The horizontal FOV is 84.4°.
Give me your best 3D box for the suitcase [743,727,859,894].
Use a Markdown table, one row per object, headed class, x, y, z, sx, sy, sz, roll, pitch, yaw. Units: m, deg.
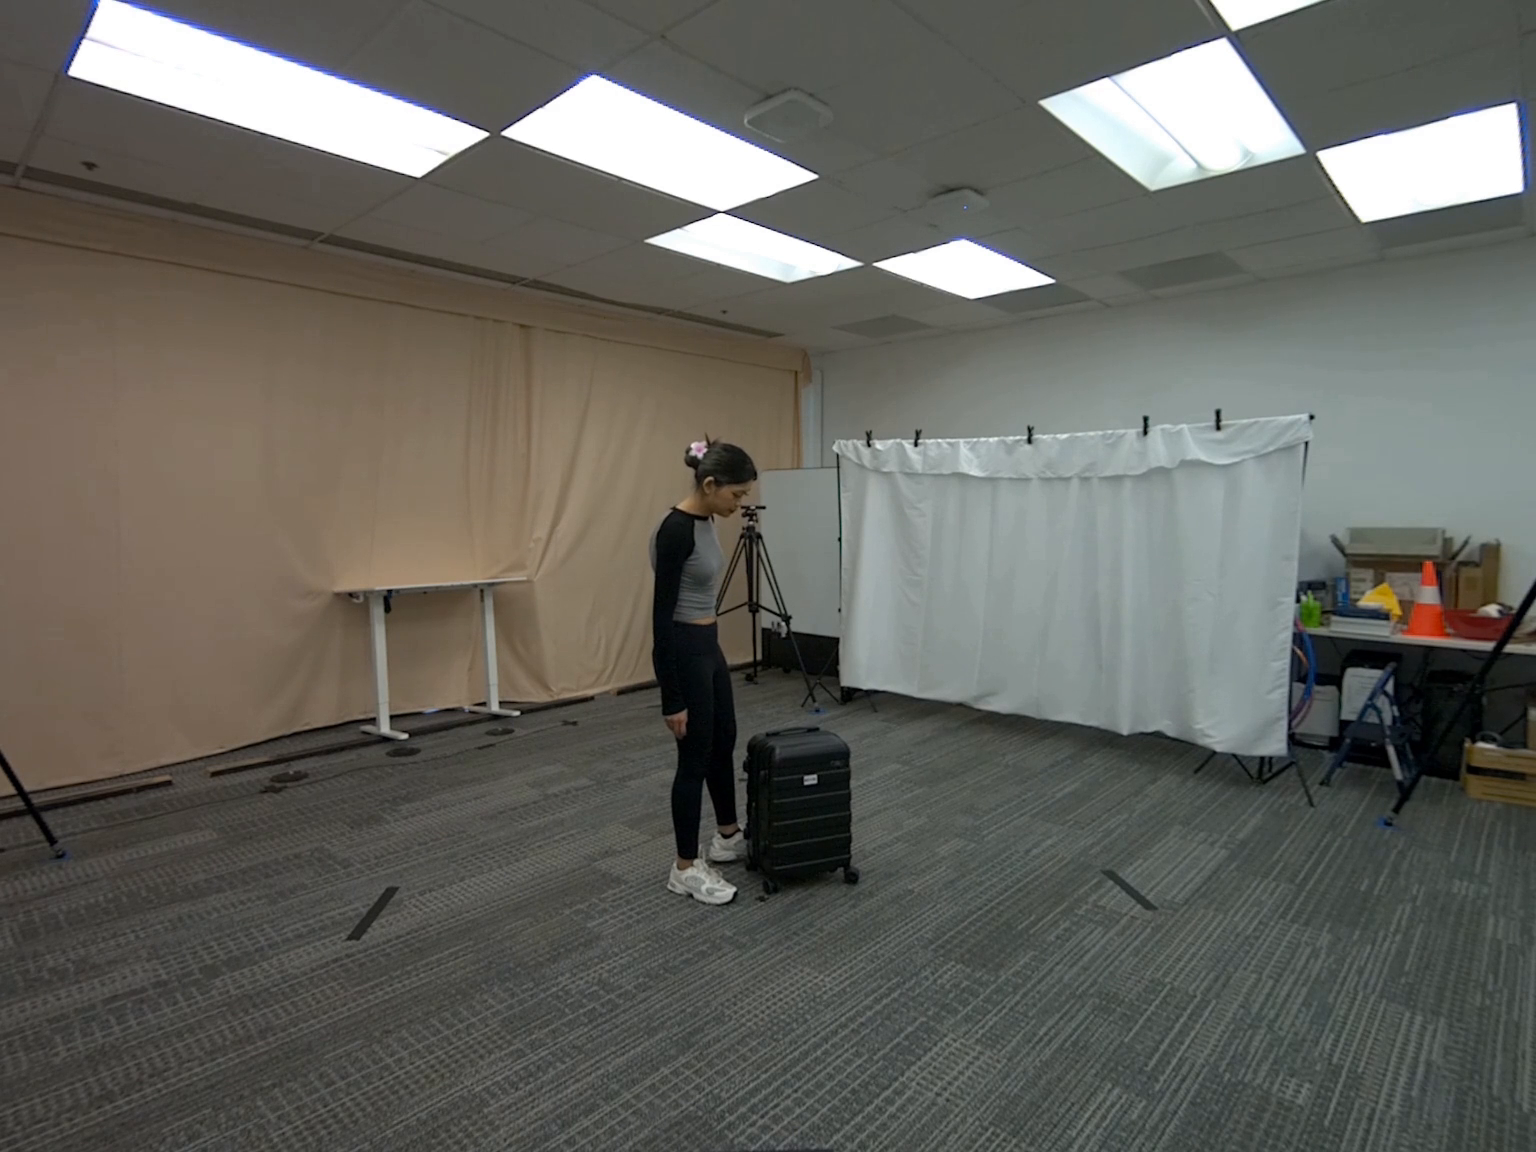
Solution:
| class | x | y | z | sx | sy | sz | roll | pitch | yaw |
| --- | --- | --- | --- | --- | --- | --- | --- | --- | --- |
| suitcase | 0.123 | 0.850 | 3.144 | 0.368 | 0.548 | 0.254 | -2 | 4 | -21 |
